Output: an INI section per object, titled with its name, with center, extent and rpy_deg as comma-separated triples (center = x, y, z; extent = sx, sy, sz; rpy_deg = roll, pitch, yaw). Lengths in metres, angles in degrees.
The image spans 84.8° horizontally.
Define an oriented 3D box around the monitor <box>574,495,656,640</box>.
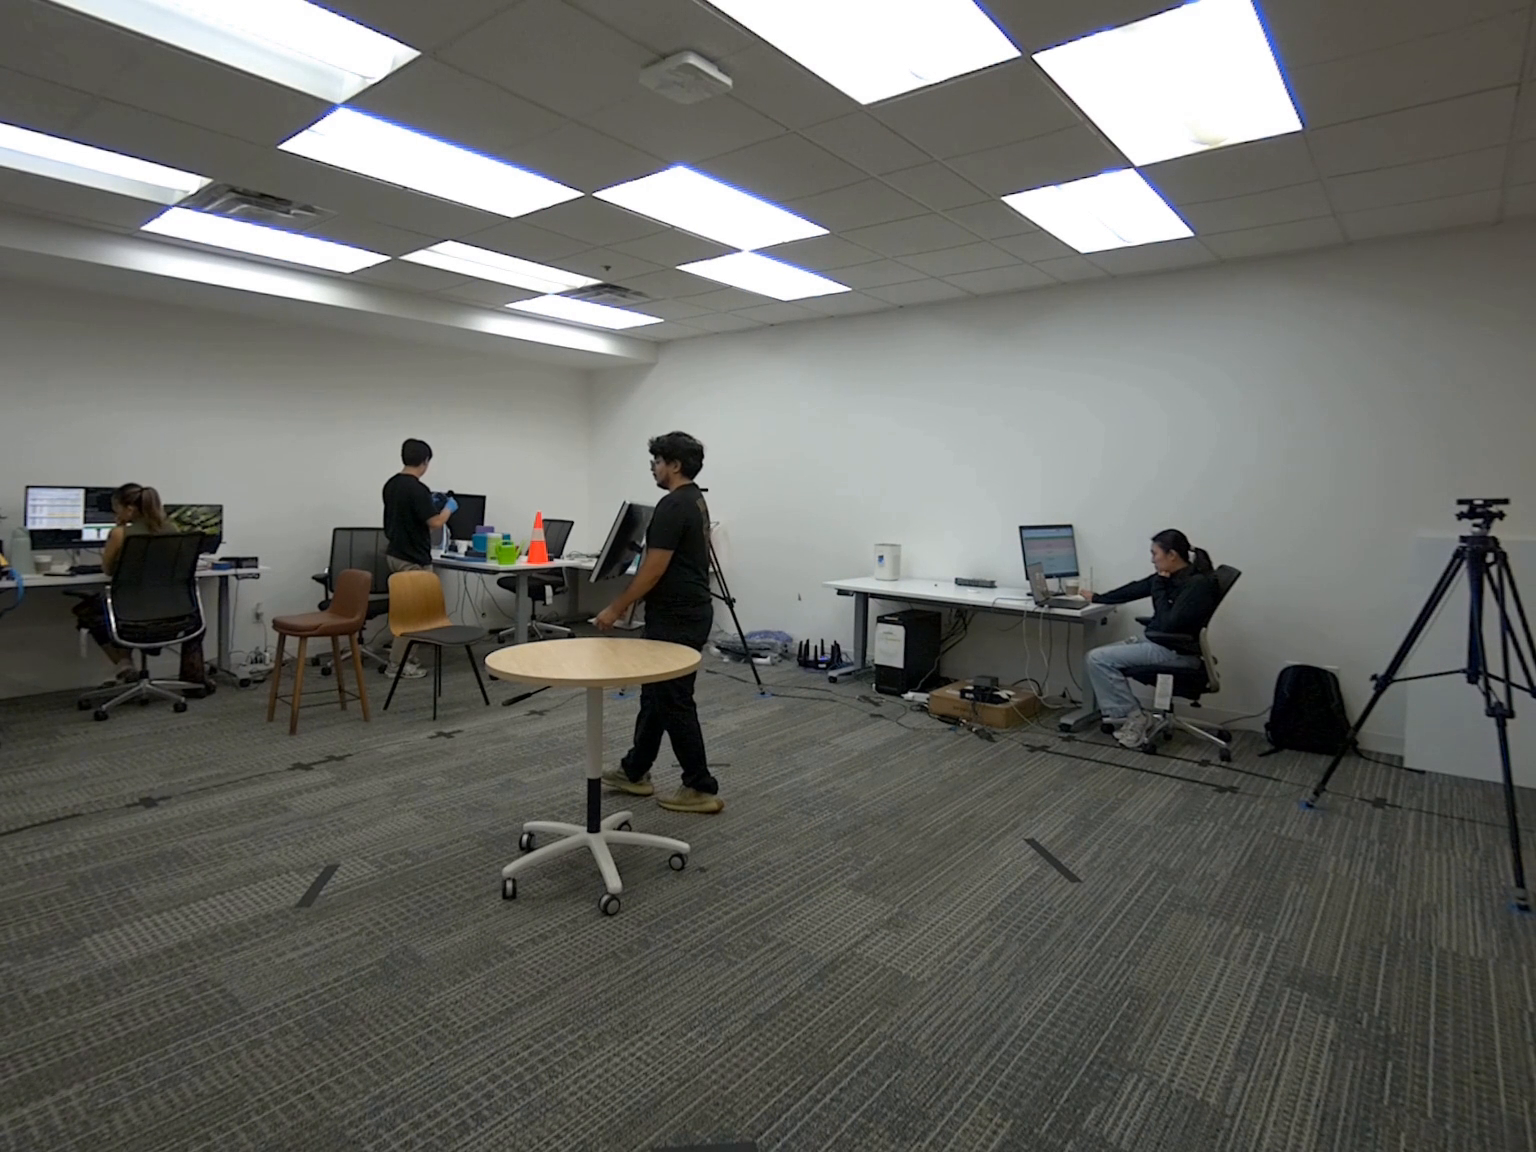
[monitor]
center = -0.604, -0.050, 3.728
extent = 0.211, 0.553, 0.563
rpy_deg = 18, 2, 2
